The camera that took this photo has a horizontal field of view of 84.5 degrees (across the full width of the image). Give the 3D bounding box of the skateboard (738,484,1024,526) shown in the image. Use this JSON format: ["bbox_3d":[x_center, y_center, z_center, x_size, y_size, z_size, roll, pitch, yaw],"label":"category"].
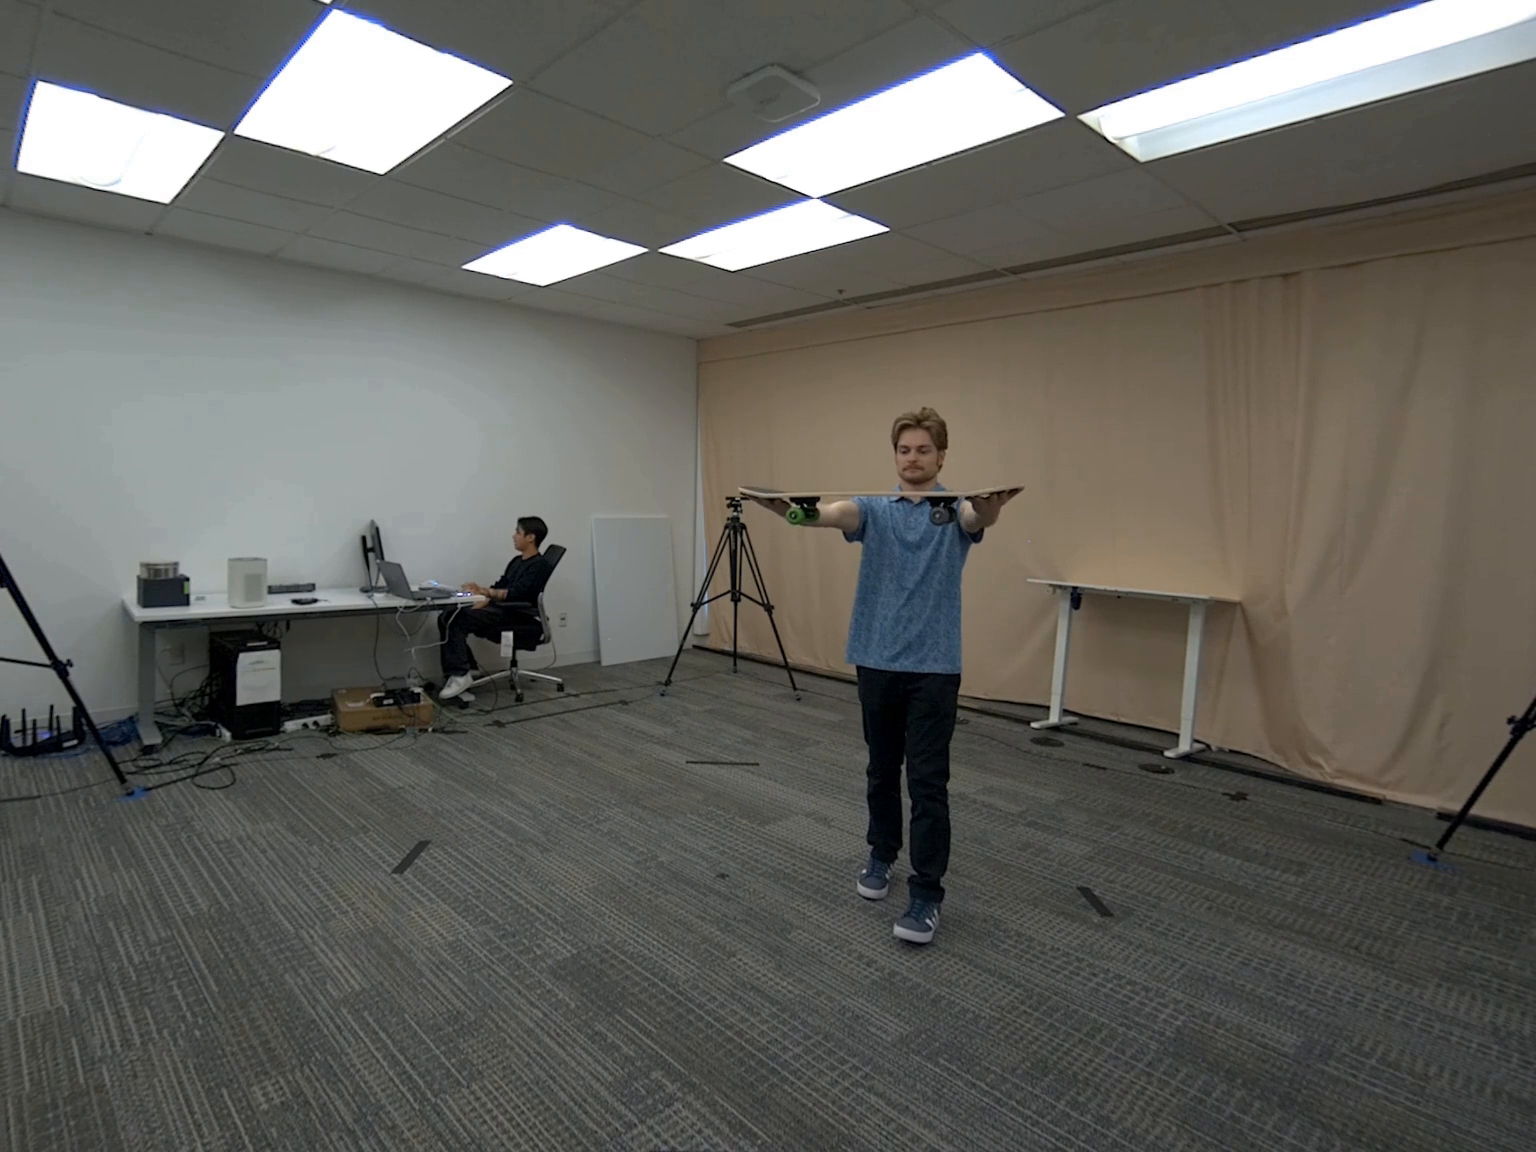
[{"bbox_3d":[0.286,-0.190,2.364,0.799,0.110,0.190,2,1,22],"label":"skateboard"}]
